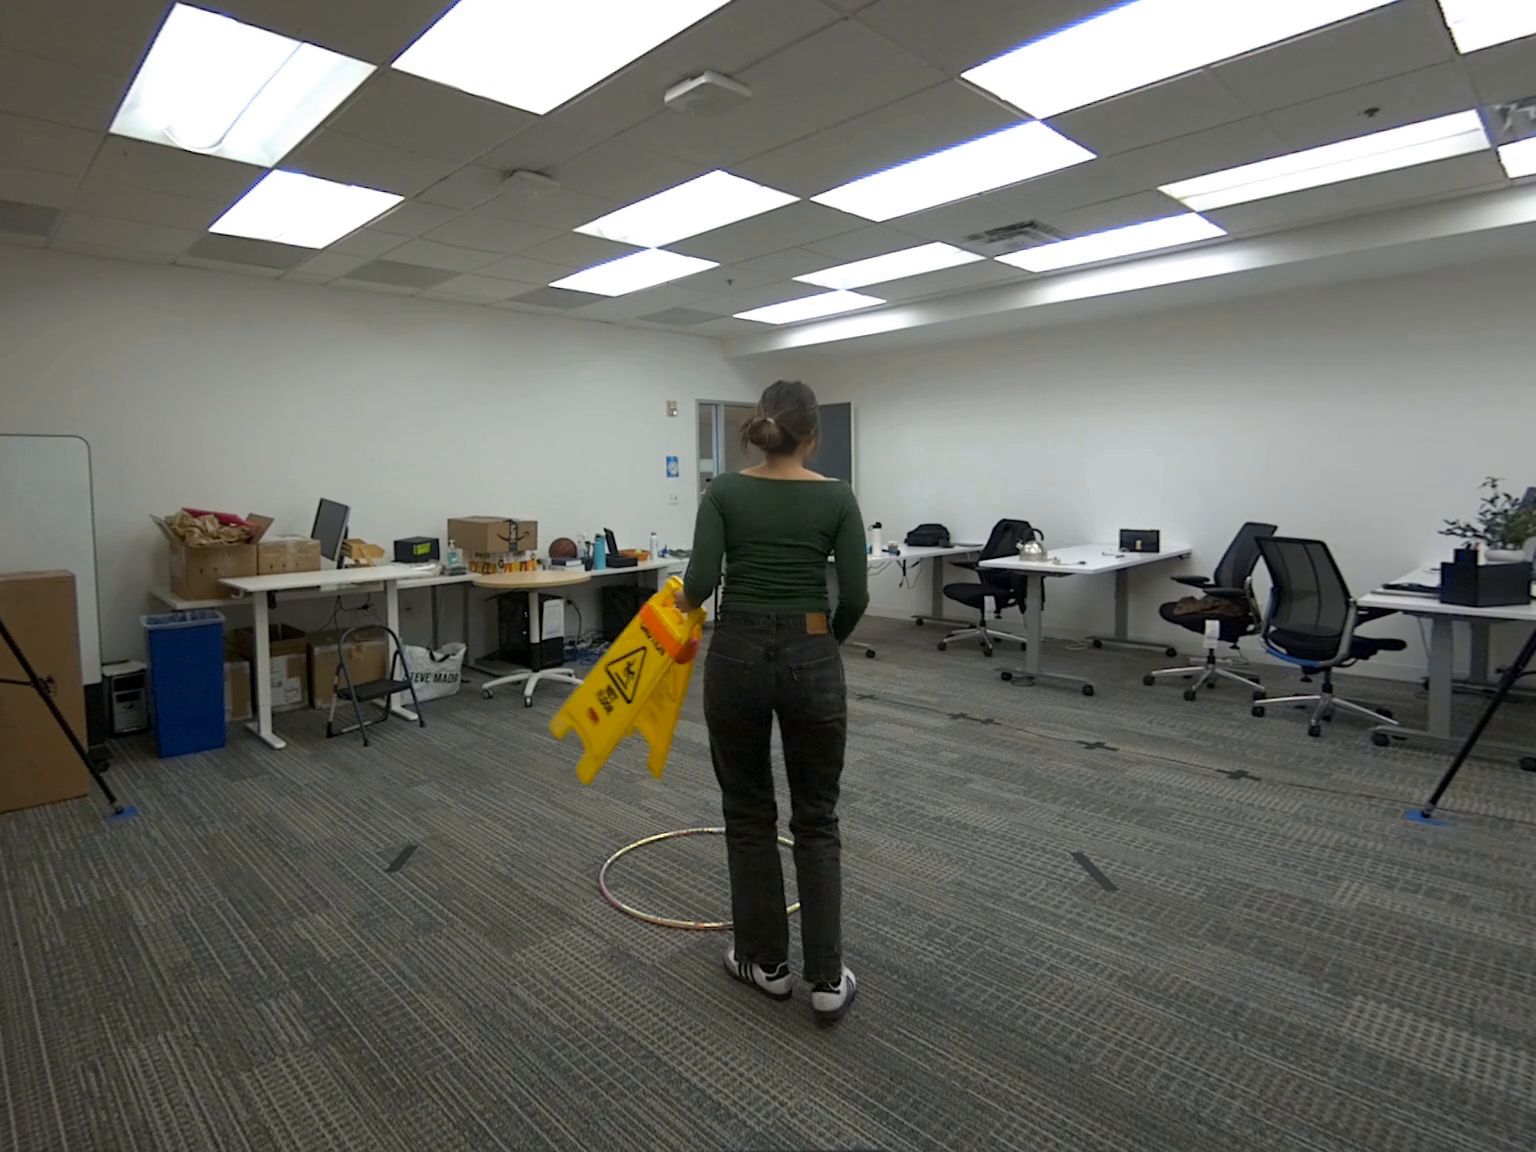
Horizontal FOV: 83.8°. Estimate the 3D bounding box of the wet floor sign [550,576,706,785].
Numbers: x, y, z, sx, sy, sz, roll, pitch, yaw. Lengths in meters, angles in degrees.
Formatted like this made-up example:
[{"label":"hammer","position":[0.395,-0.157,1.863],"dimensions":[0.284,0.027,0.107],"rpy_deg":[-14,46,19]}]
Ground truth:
[{"label":"wet floor sign","position":[-0.361,0.315,2.678],"dimensions":[0.280,0.642,0.293],"rpy_deg":[11,26,-45]}]
